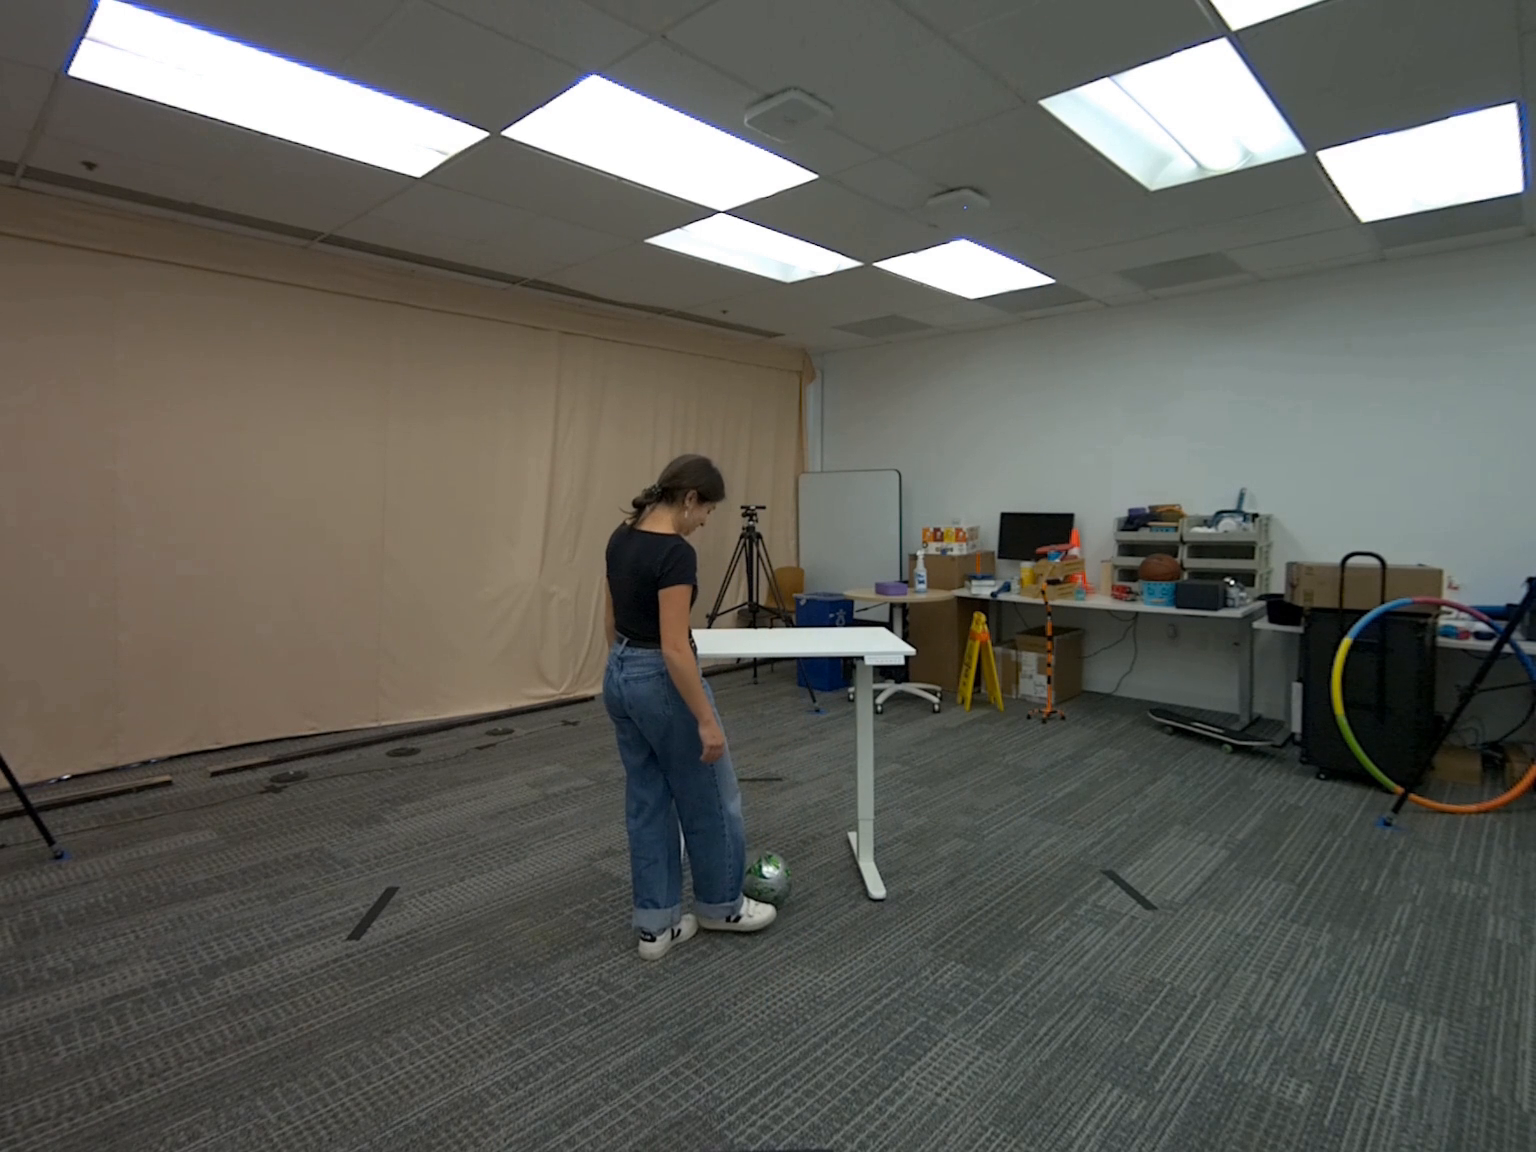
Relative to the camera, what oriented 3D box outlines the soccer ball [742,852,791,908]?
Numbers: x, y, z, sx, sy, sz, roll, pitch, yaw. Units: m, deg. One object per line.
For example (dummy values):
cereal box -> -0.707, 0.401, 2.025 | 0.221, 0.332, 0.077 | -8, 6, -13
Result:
soccer ball -> -0.002, 1.057, 2.932 | 0.187, 0.187, 0.188 | 0, 4, -2
